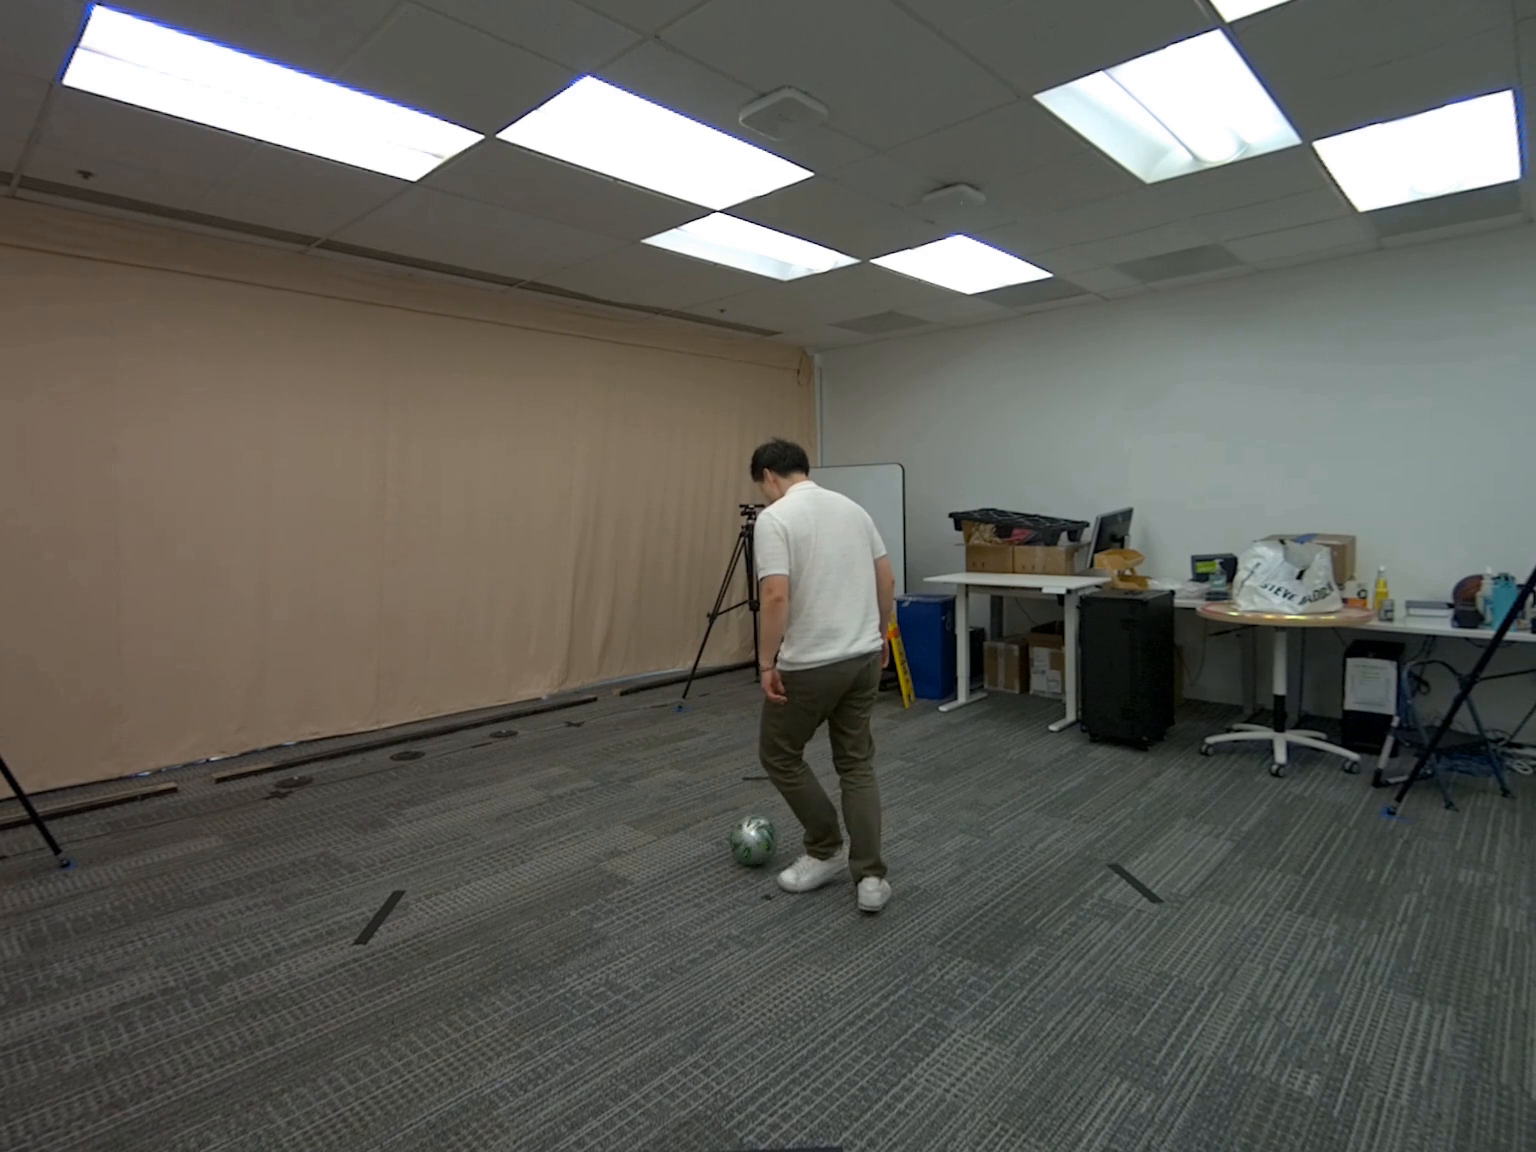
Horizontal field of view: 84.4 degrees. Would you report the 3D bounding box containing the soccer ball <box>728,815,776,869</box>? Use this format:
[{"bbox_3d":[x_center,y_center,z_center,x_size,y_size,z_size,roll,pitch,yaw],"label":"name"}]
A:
[{"bbox_3d":[-0.055,1.021,3.260,0.187,0.187,0.188,-1,4,-2],"label":"soccer ball"}]
